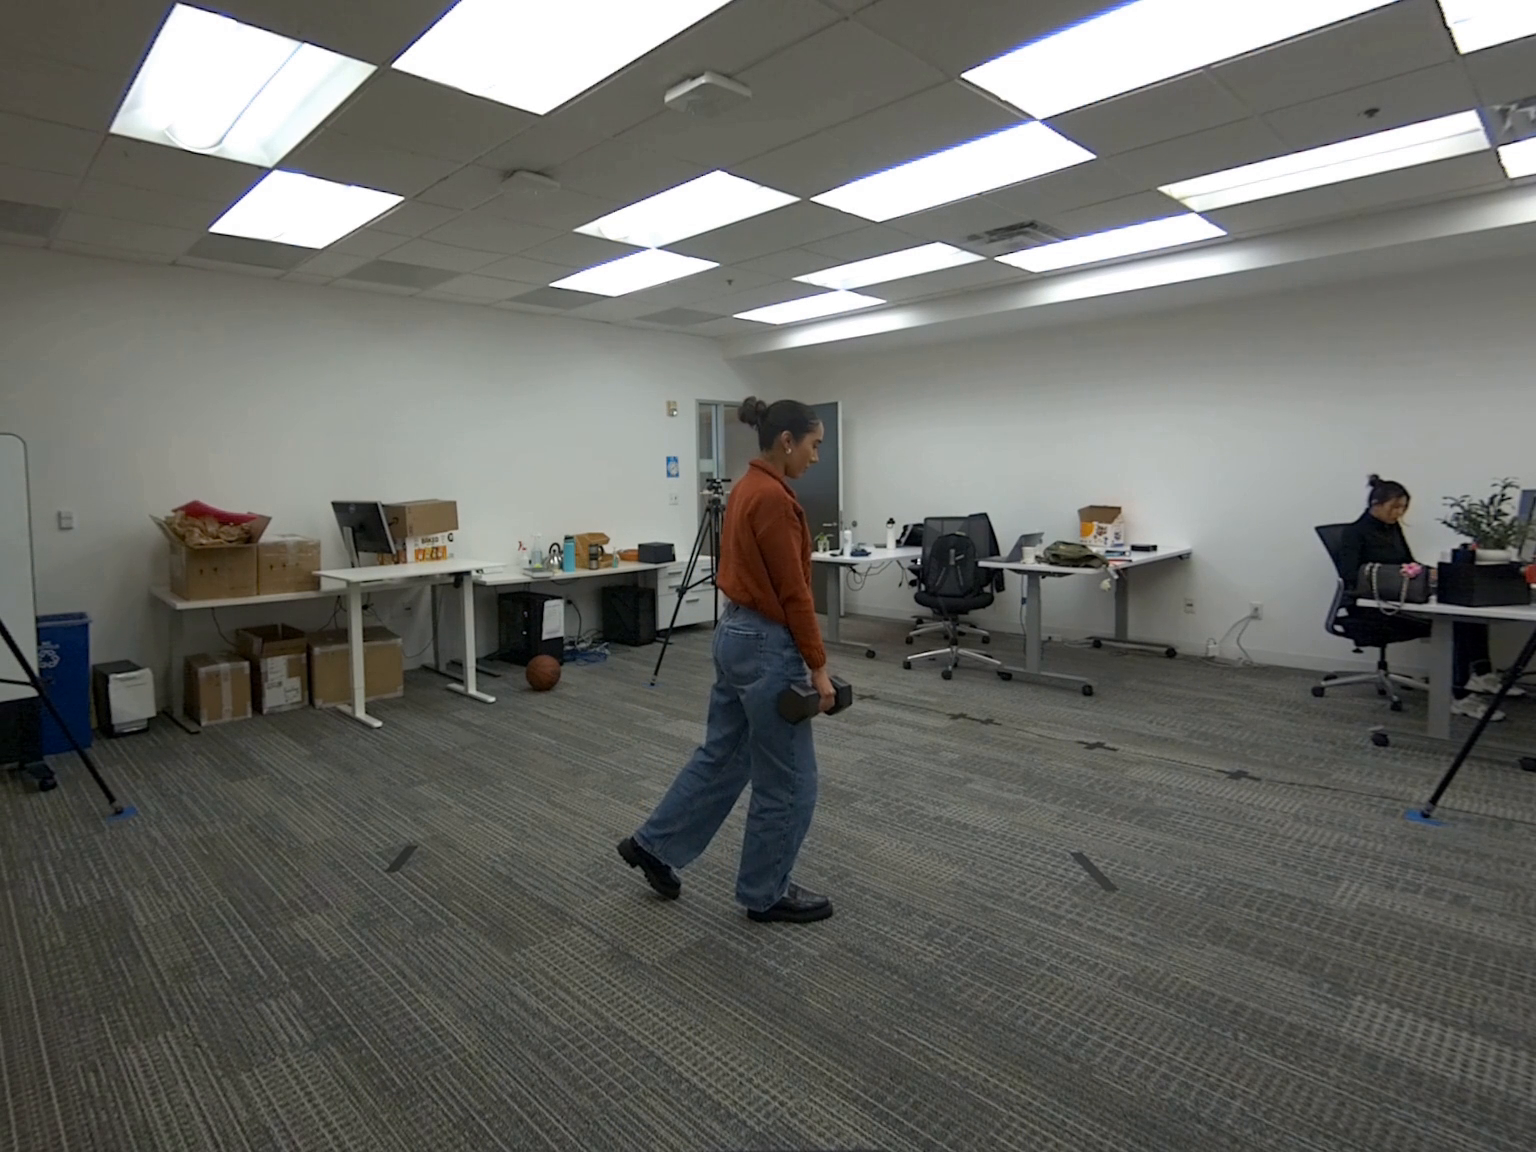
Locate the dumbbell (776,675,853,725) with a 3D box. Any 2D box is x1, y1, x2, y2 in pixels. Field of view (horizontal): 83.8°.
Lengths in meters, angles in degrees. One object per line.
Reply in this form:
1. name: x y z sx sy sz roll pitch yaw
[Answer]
1. dumbbell: 0.141 0.373 2.583 0.111 0.123 0.285 -6 -3 36
